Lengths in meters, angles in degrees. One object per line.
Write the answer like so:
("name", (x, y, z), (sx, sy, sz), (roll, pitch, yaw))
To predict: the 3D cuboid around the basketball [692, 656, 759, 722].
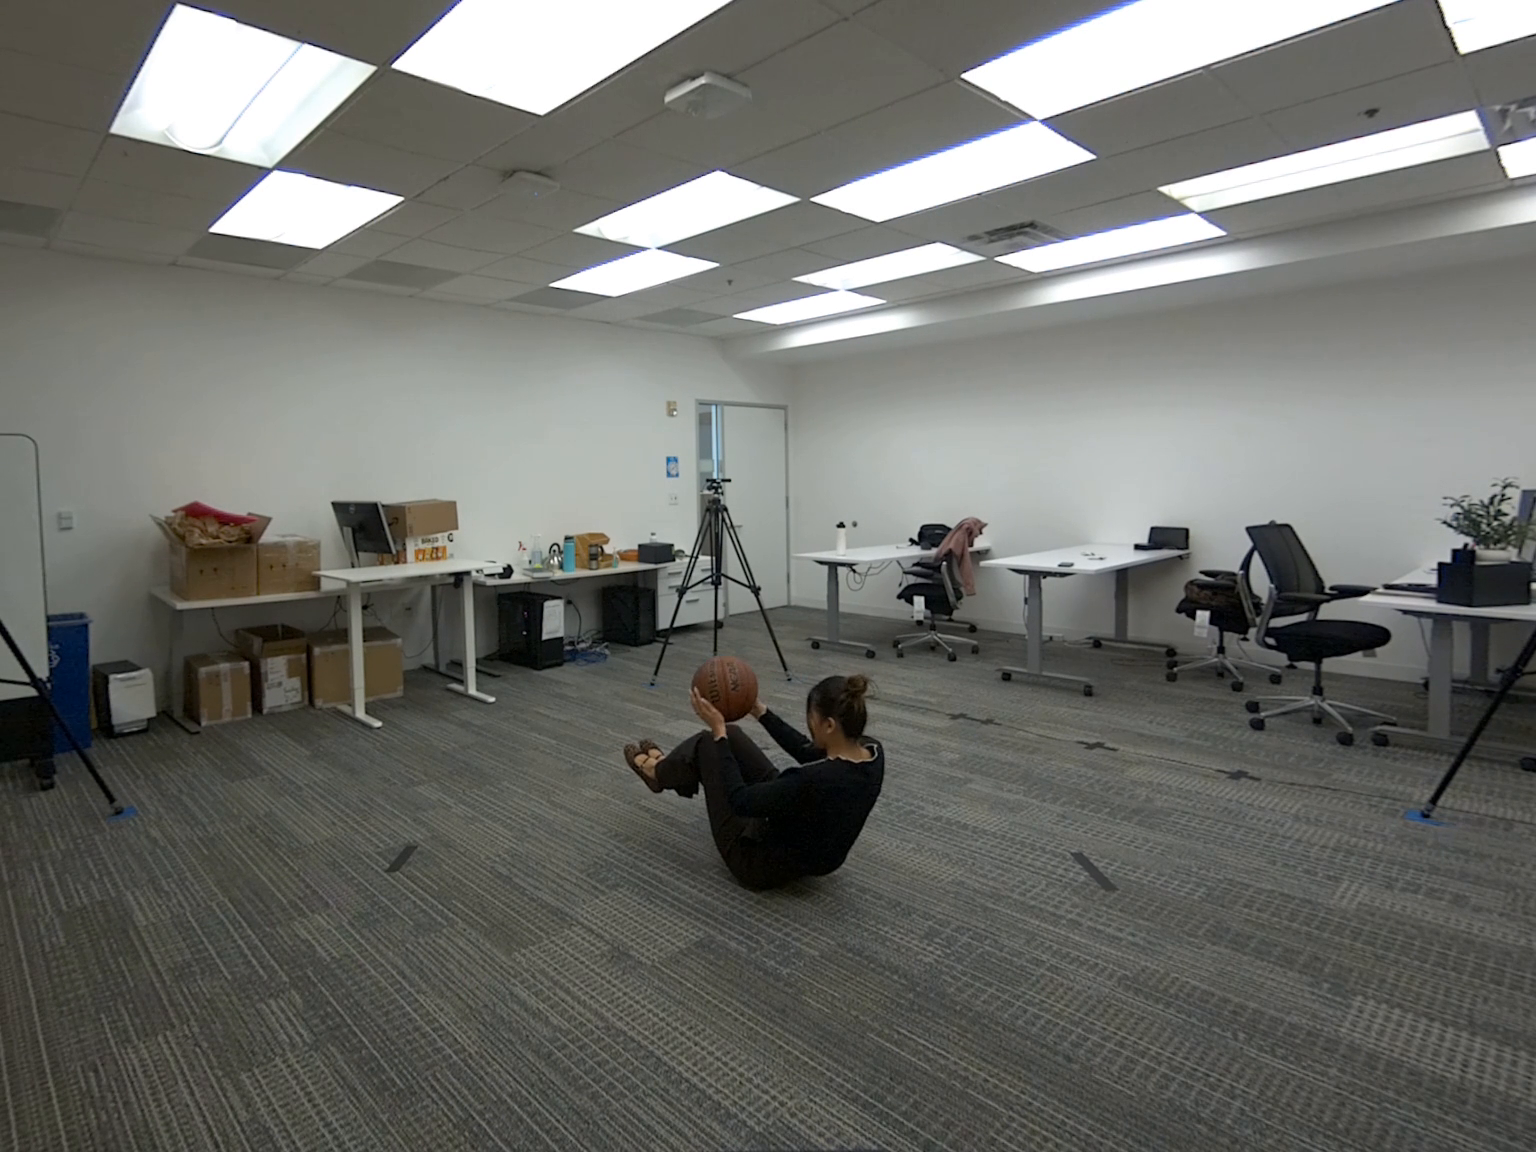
("basketball", (-0.136, 0.410, 3.006), (0.236, 0.235, 0.237), (-1, 5, -2))
